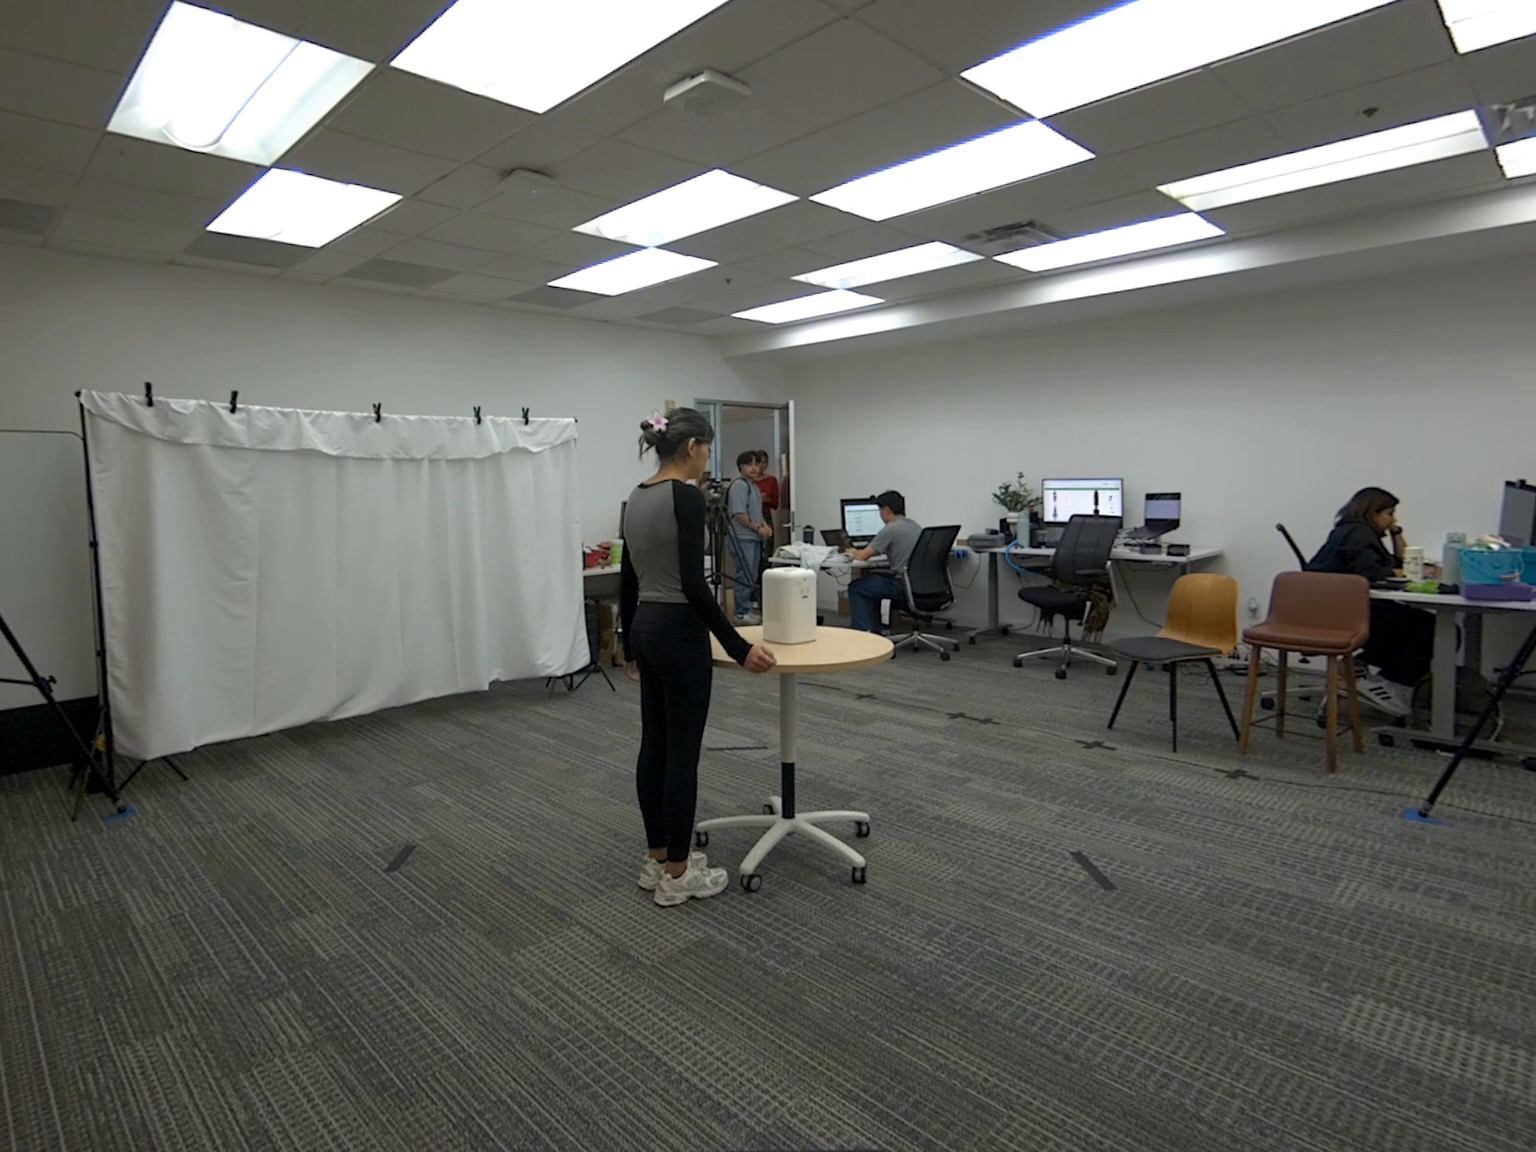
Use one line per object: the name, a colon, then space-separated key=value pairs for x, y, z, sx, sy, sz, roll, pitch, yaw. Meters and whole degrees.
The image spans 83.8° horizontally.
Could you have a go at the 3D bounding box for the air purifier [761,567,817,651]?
air purifier: x=0.083 y=0.105 z=3.178 sx=0.166 sy=0.264 sz=0.177 roll=-3 pitch=5 yaw=-39
